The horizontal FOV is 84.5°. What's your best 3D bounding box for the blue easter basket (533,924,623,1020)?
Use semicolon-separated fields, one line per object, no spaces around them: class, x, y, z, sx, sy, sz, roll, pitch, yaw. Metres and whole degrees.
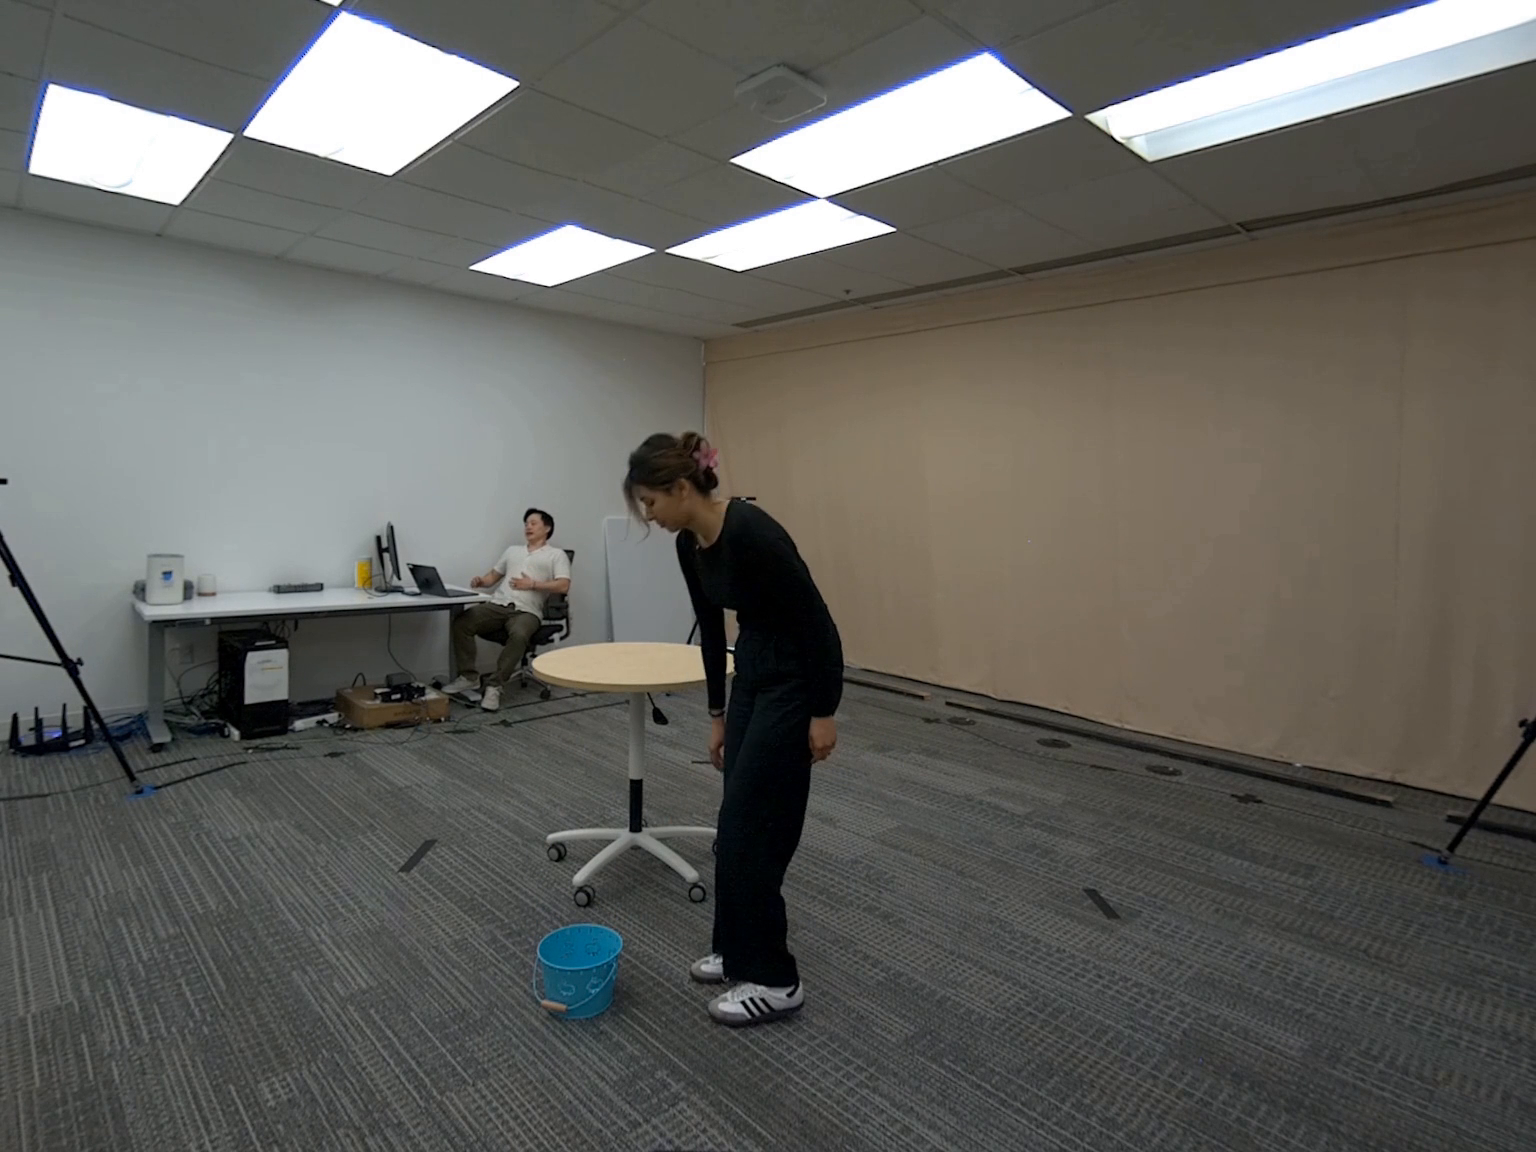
blue easter basket;-0.529;1.095;2.324;0.243;0.155;0.244;0;4;-1
